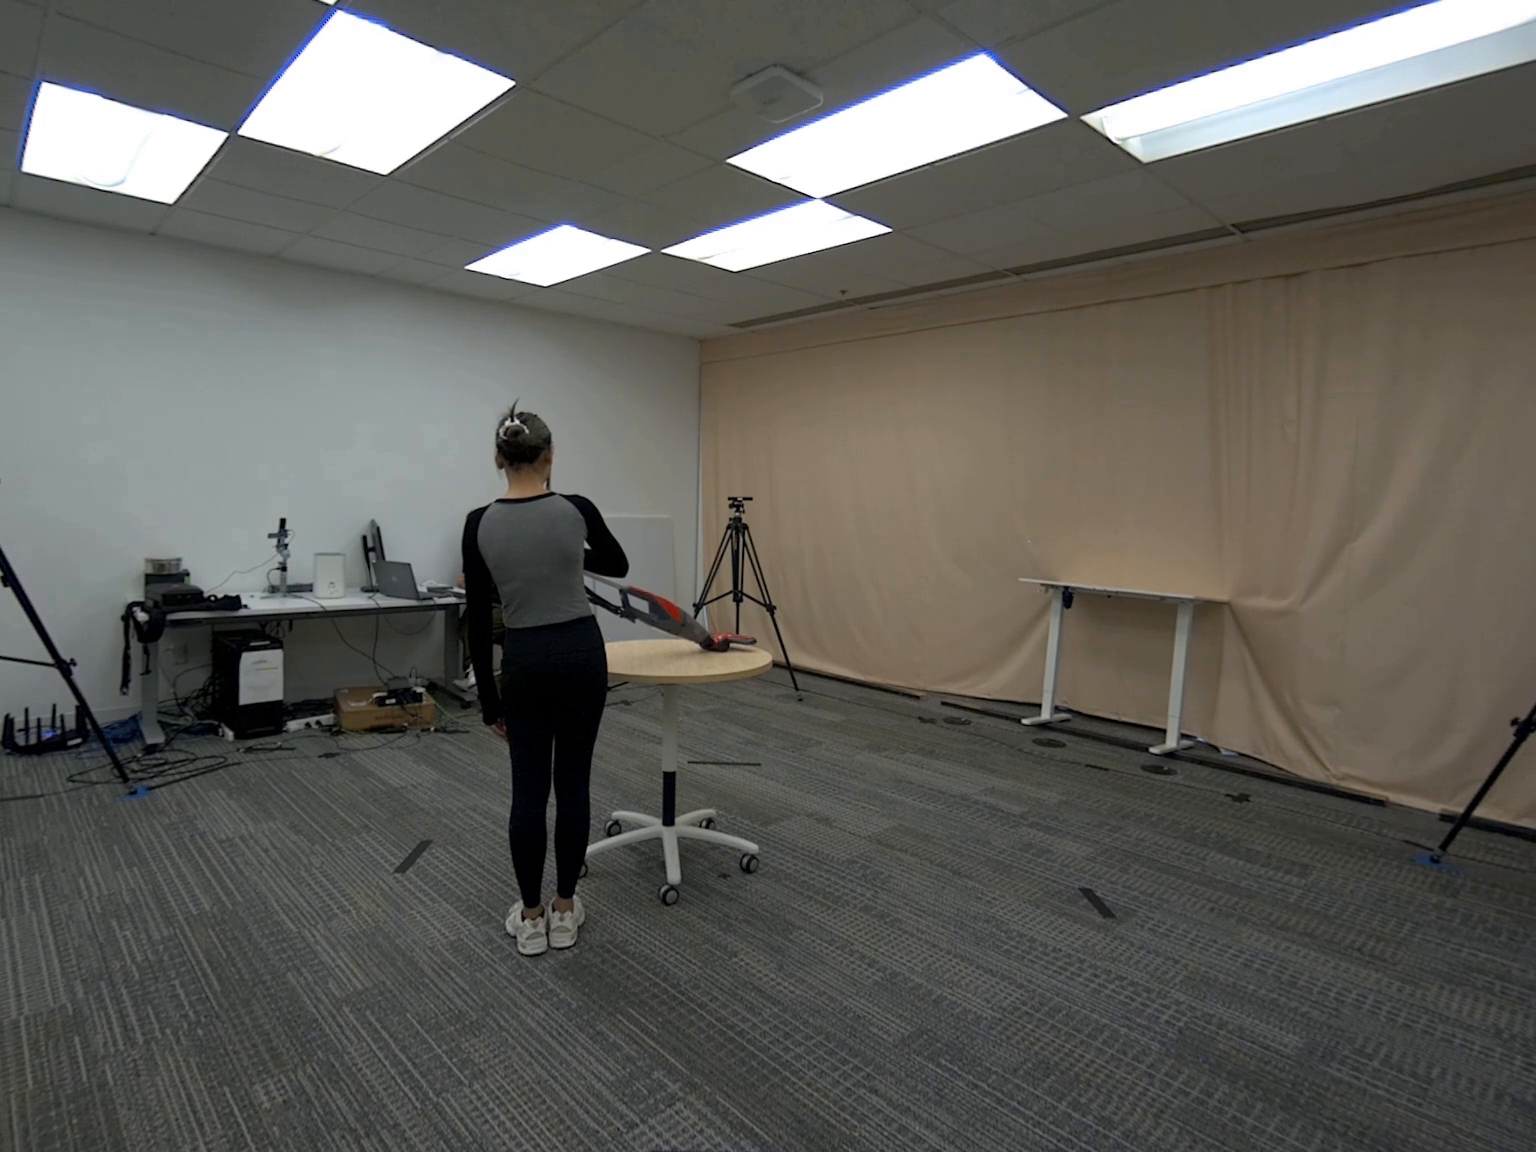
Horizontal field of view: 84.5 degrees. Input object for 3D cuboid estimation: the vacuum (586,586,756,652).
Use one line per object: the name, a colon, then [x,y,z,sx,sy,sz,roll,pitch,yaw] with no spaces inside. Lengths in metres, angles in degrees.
vacuum: [-0.522,0.099,3.041,0.259,0.145,1.017,6,-15,46]
